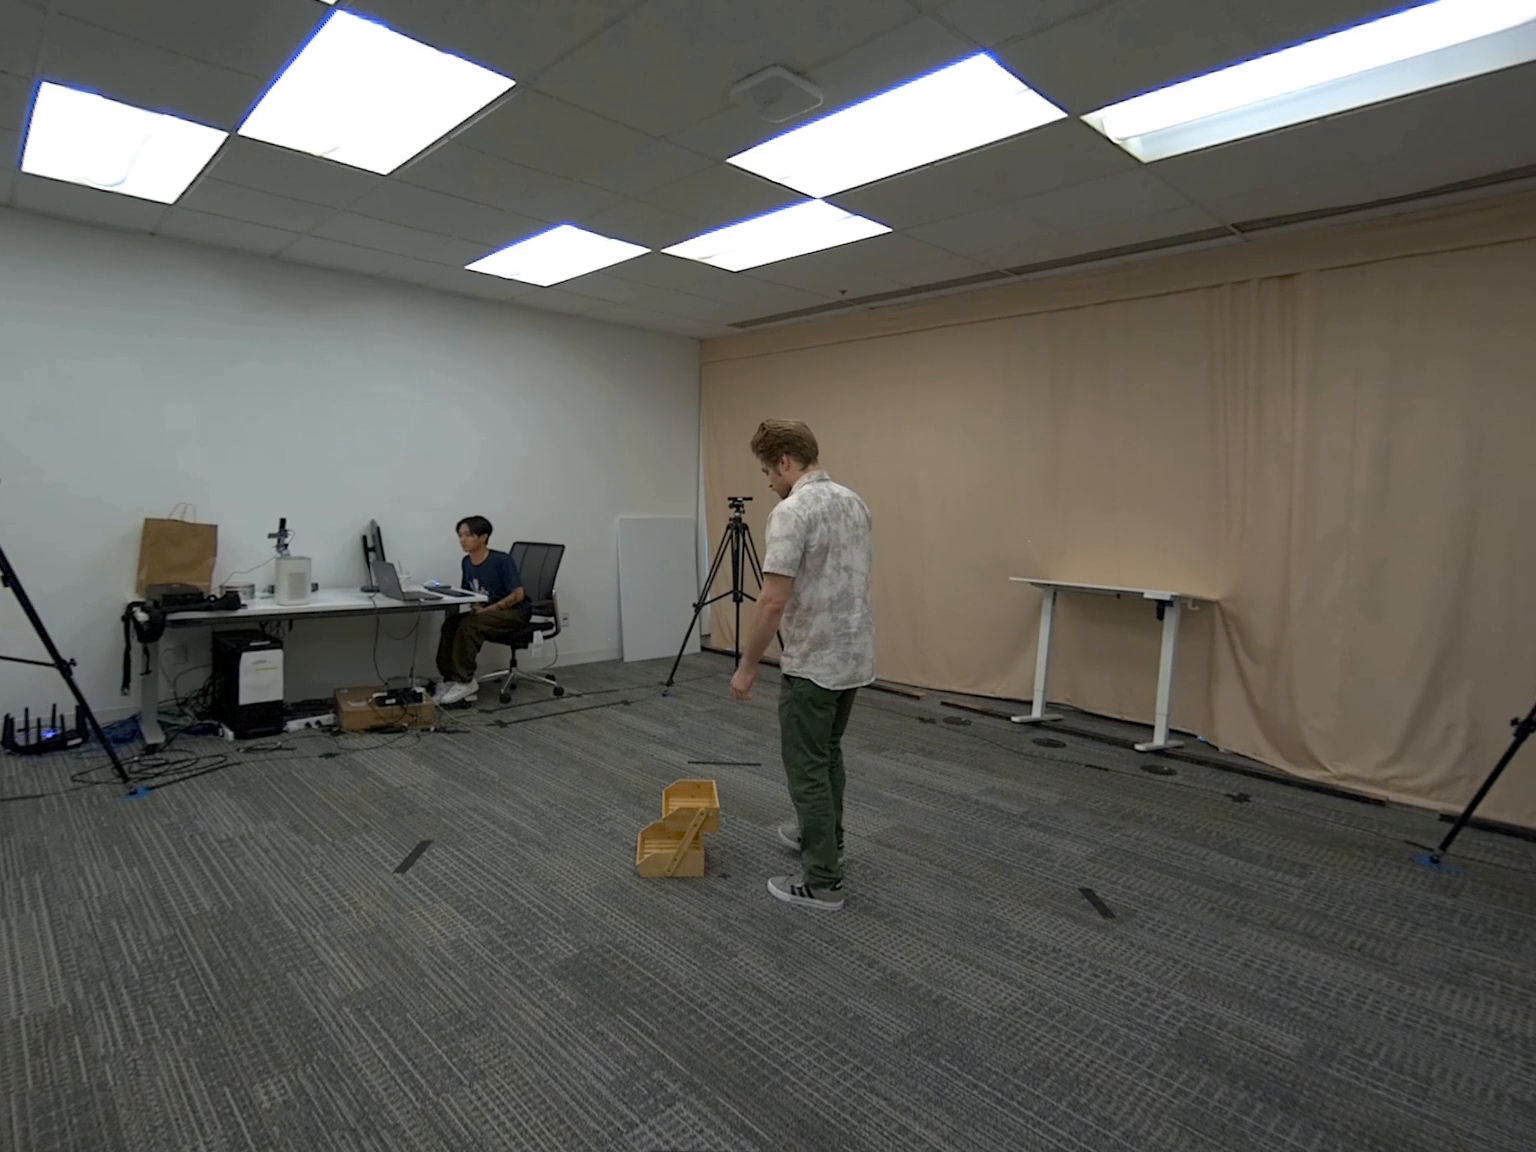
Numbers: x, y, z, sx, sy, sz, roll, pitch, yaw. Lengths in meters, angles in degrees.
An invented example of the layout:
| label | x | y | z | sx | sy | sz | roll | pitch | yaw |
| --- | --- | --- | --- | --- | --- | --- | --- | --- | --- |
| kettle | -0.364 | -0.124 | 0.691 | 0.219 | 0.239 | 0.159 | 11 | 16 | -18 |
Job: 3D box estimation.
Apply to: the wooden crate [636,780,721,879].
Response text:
| label | x | y | z | sx | sy | sz | roll | pitch | yaw |
| --- | --- | --- | --- | --- | --- | --- | --- | --- | --- |
| wooden crate | -0.361 | 0.956 | 3.231 | 0.300 | 0.272 | 0.327 | 1 | 4 | -7 |
